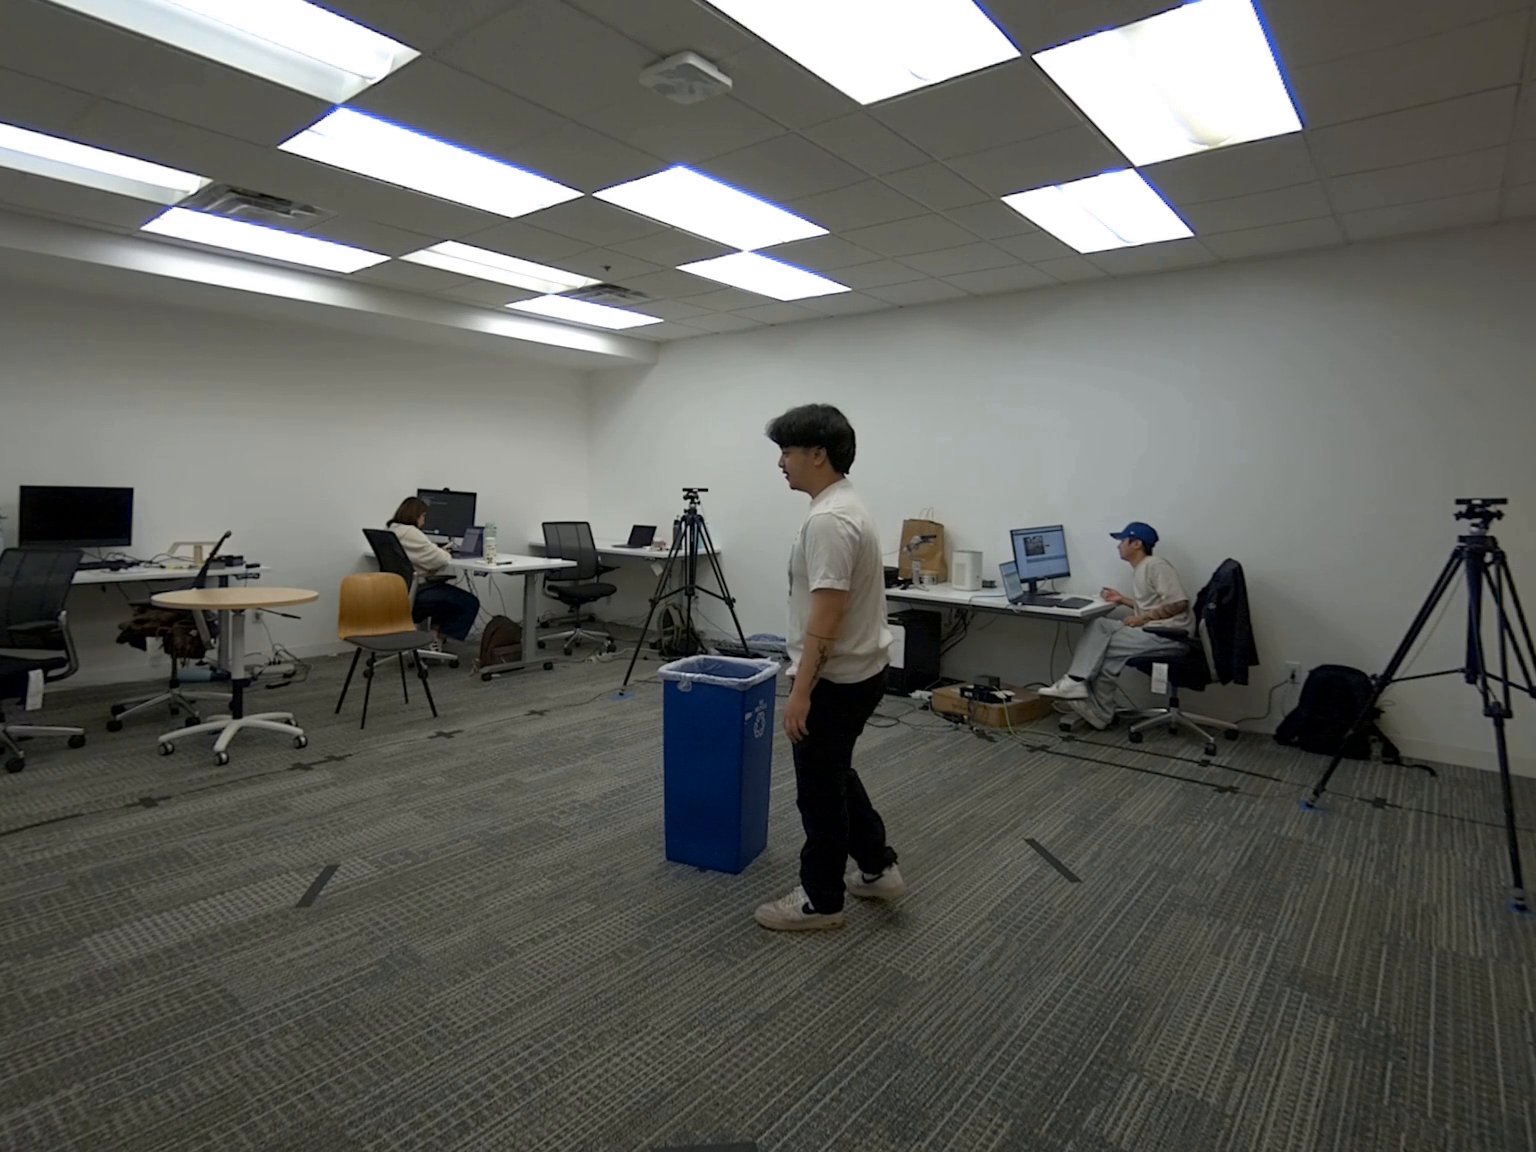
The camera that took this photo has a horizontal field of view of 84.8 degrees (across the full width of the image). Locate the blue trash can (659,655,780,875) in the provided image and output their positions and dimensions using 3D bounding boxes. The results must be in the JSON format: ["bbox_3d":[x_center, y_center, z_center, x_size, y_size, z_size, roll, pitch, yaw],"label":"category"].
[{"bbox_3d":[-0.198,0.696,3.251,0.387,0.711,0.366,3,4,23],"label":"blue trash can"}]
